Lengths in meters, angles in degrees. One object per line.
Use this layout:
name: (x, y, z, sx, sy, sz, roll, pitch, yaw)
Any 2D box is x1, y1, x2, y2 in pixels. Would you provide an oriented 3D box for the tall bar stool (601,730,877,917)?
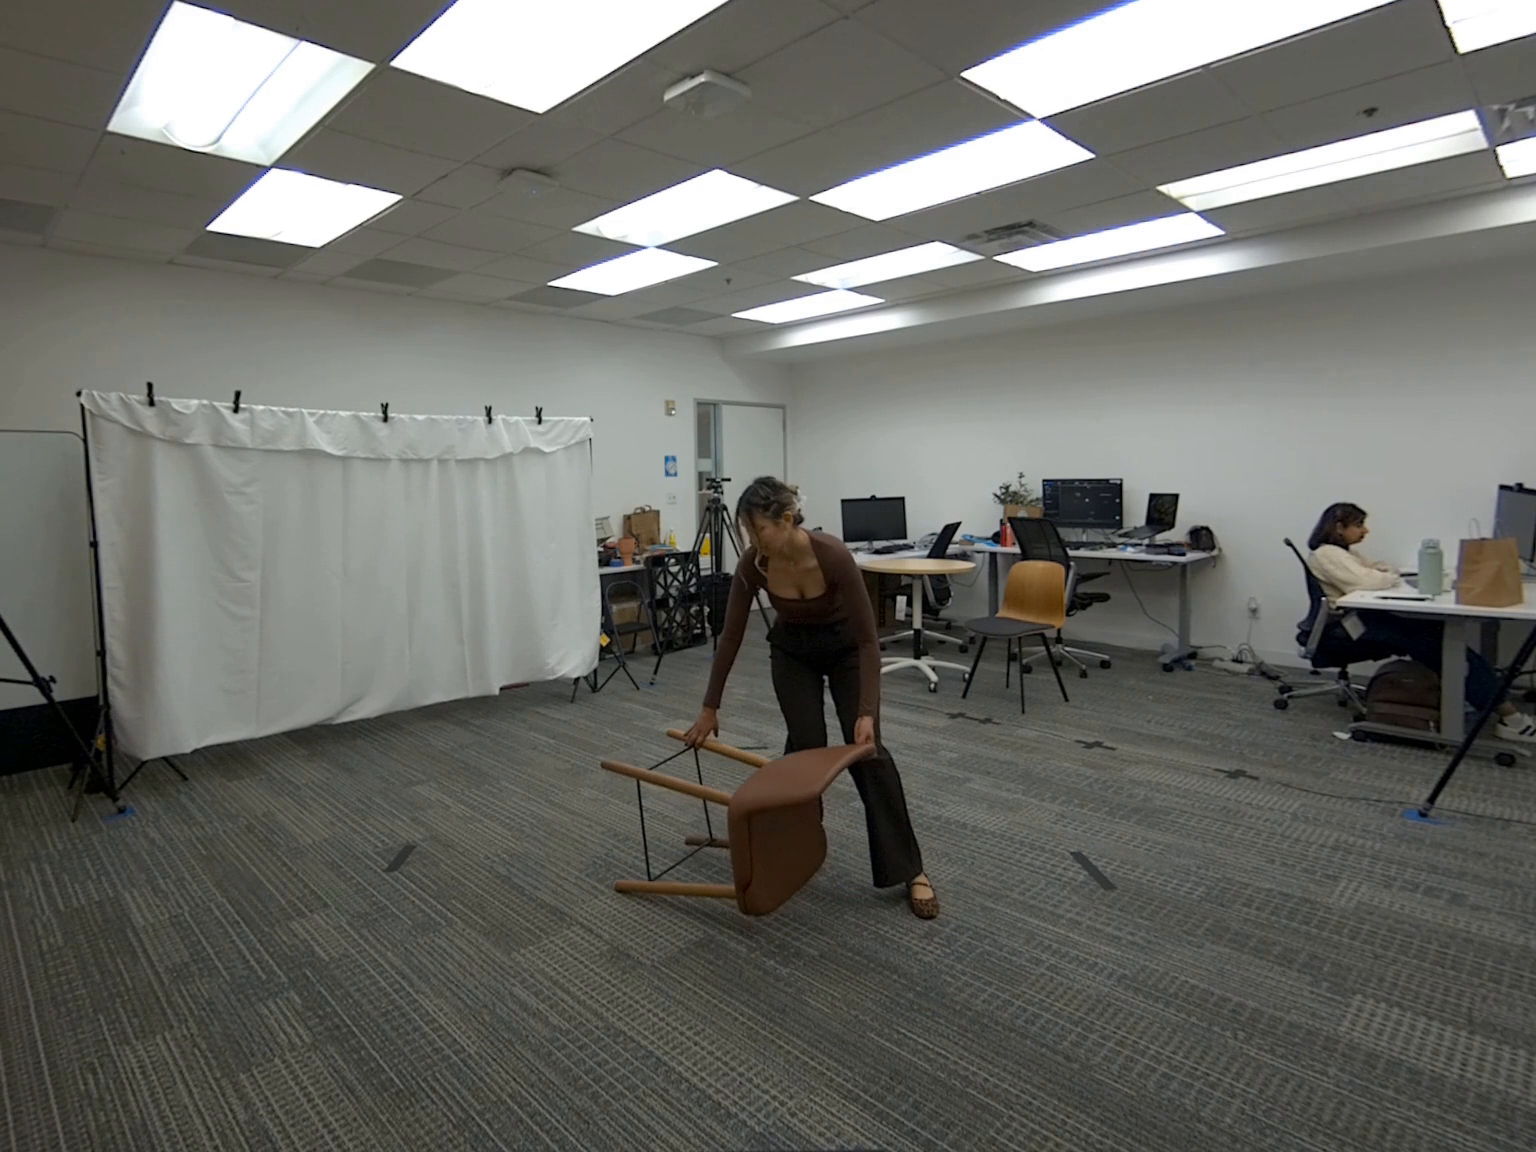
tall bar stool: (-0.088, 0.796, 2.784, 0.912, 0.466, 0.447, -5, 5, 35)
